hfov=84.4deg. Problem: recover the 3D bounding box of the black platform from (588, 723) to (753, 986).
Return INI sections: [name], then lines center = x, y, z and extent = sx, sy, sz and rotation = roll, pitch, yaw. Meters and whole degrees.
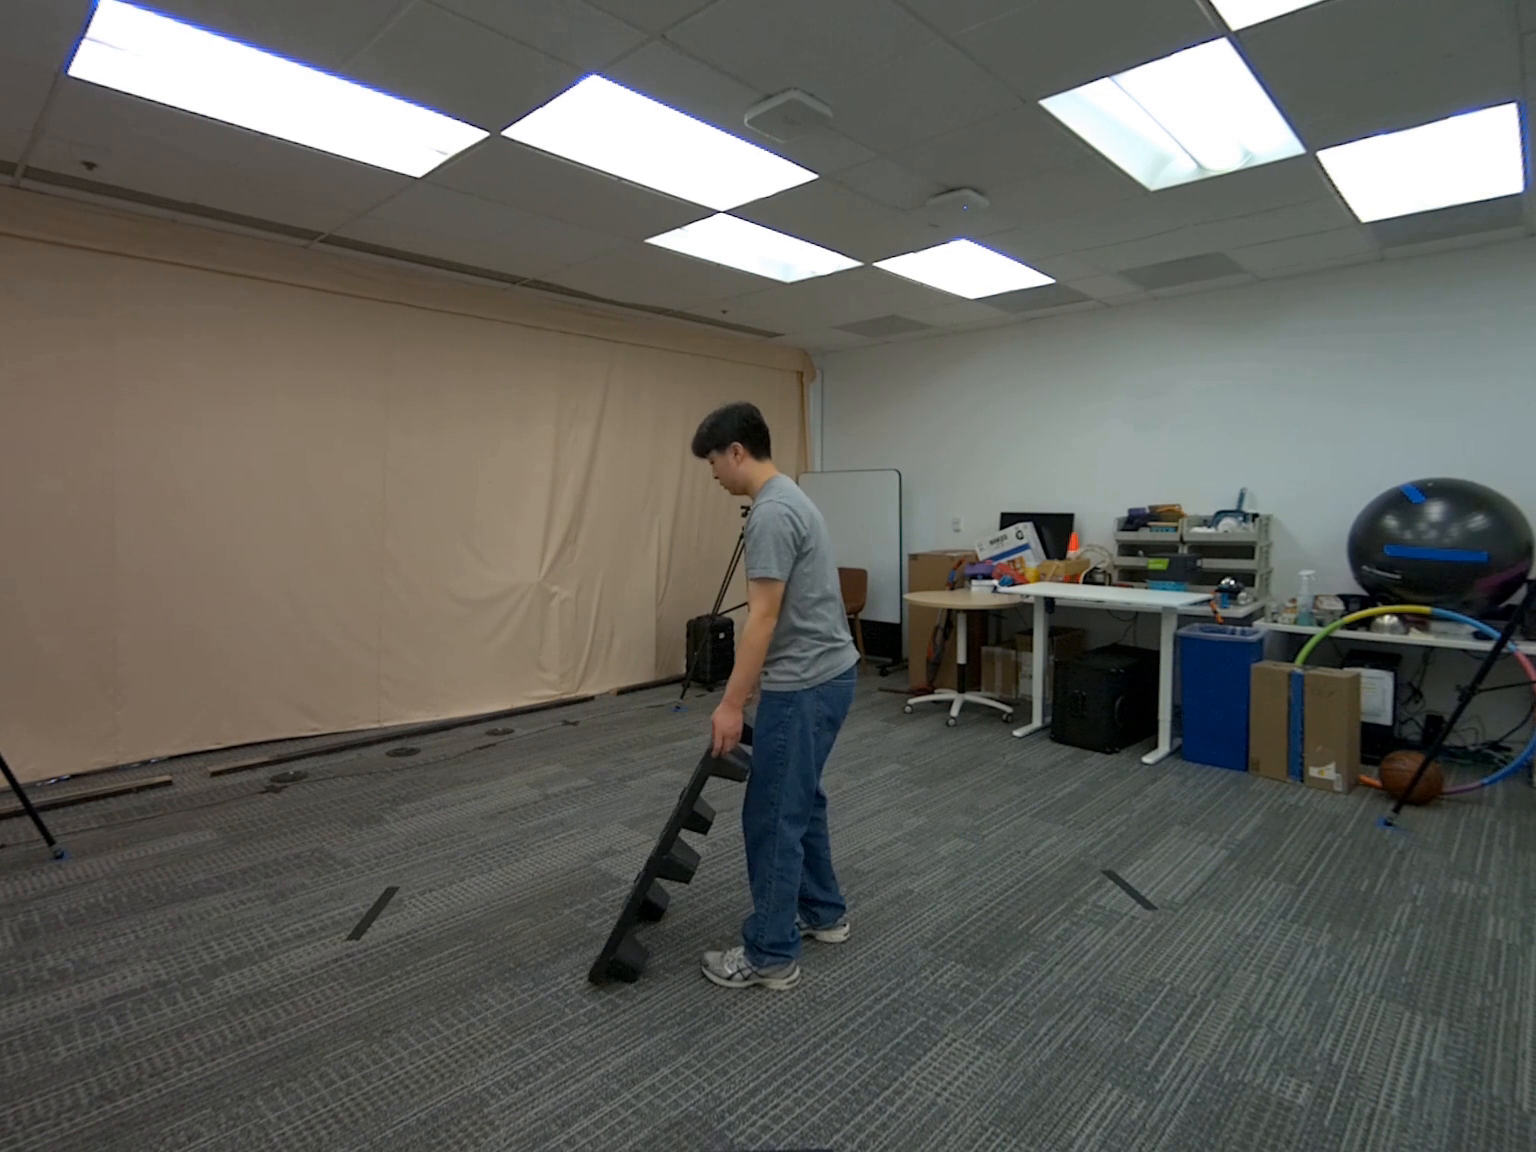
[black platform]
center = -0.261, 0.822, 2.664
extent = 0.144, 0.805, 0.603
rotation = 27, 5, 1
